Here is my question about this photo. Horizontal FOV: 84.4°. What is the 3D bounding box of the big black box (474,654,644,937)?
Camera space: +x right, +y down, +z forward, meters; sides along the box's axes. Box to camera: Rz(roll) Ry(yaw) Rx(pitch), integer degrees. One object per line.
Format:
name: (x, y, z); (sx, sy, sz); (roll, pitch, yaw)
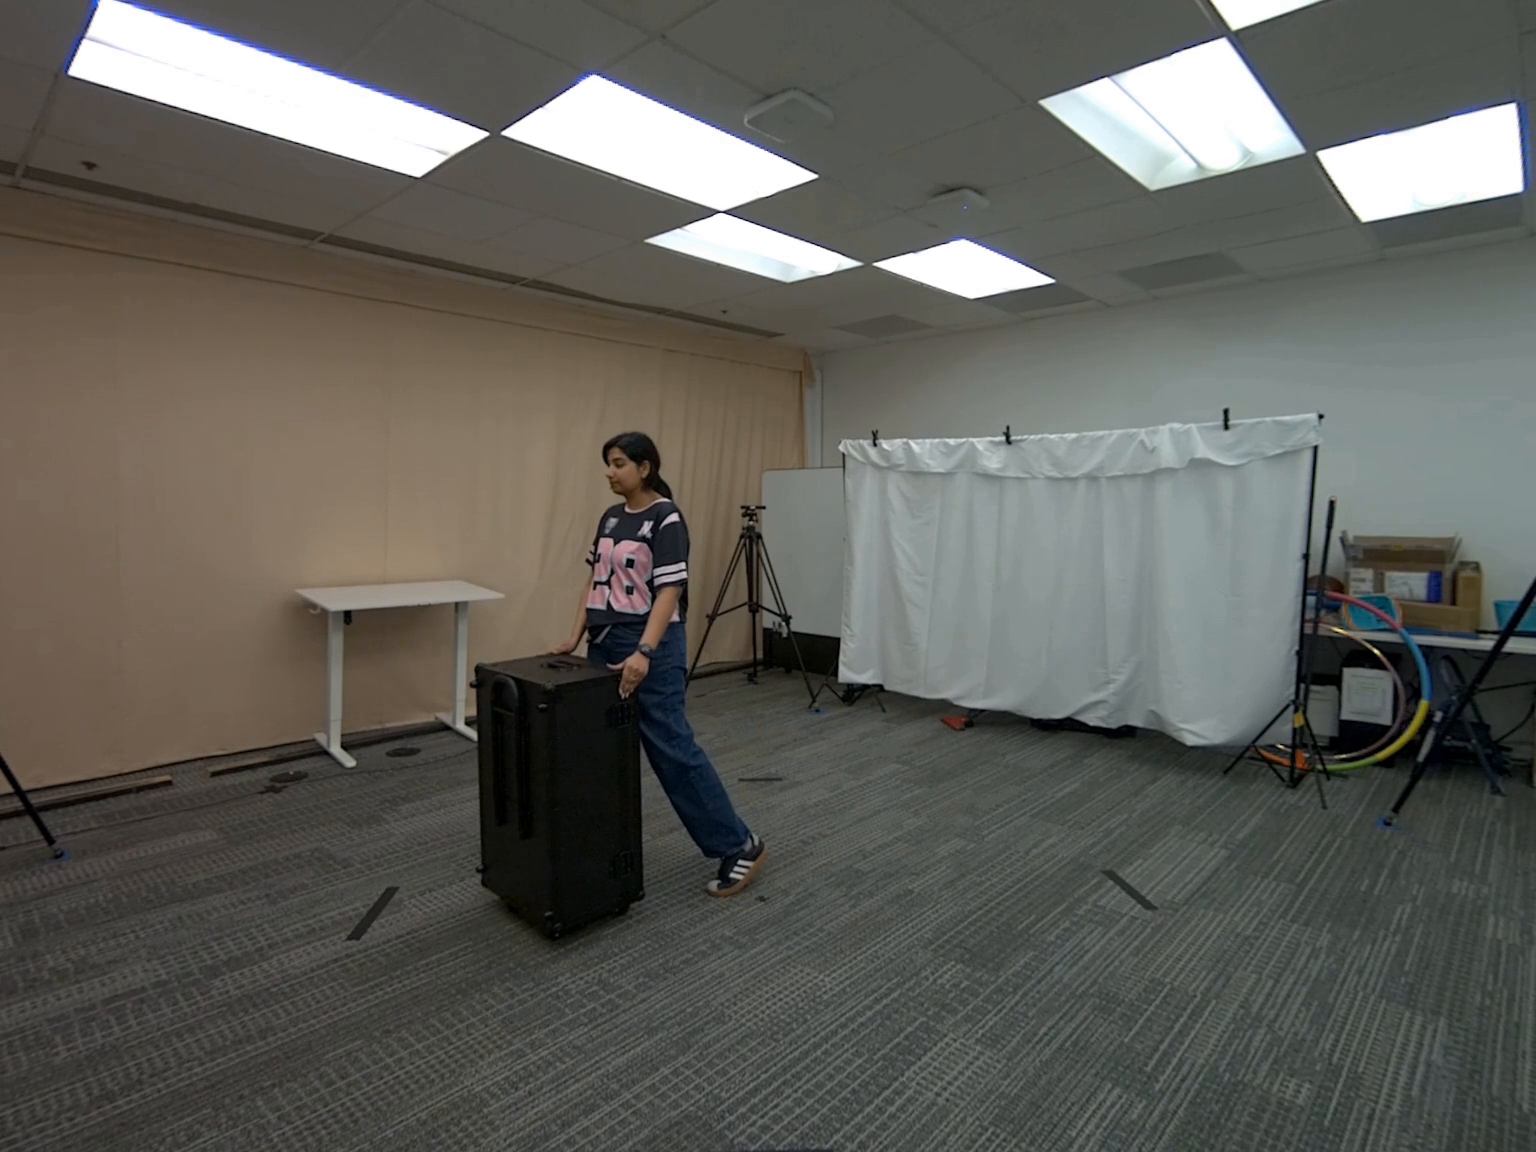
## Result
big black box: (-0.716, 0.740, 2.863); (0.541, 0.866, 0.373); (3, 5, 43)
